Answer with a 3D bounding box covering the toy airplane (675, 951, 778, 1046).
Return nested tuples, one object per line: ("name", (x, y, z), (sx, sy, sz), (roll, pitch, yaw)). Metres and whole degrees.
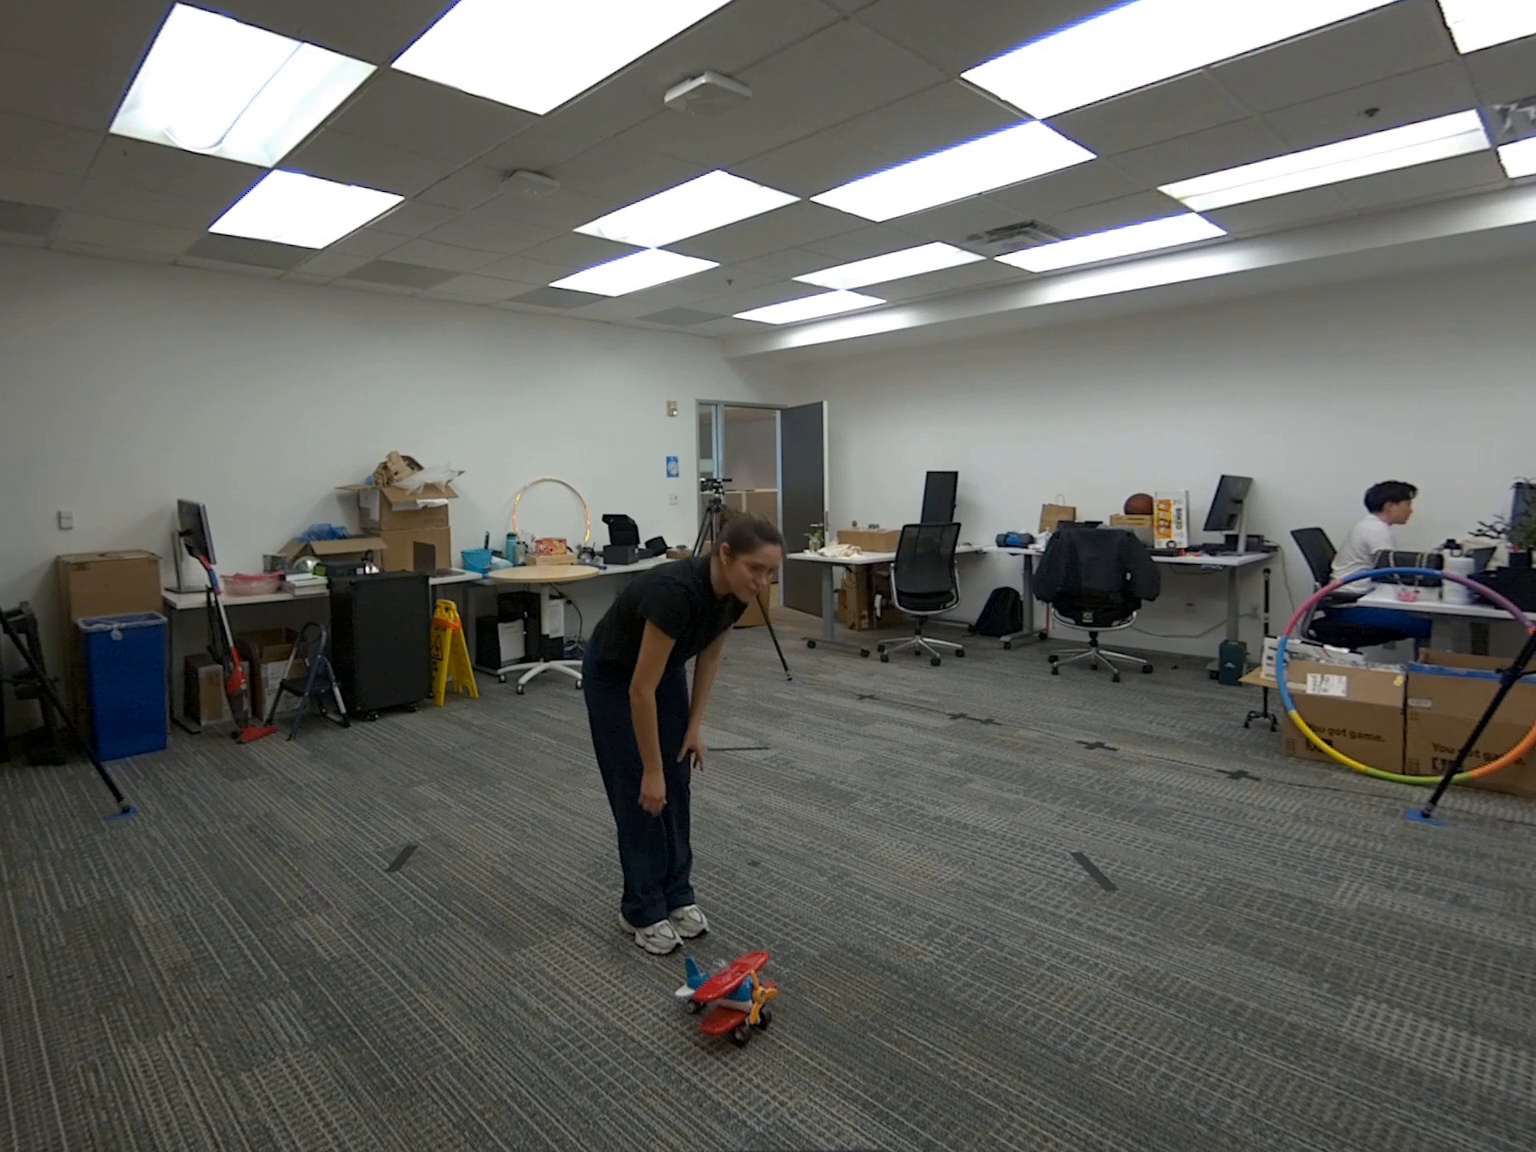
("toy airplane", (-0.113, 1.081, 2.194), (0.262, 0.156, 0.249), (1, 6, 10))
